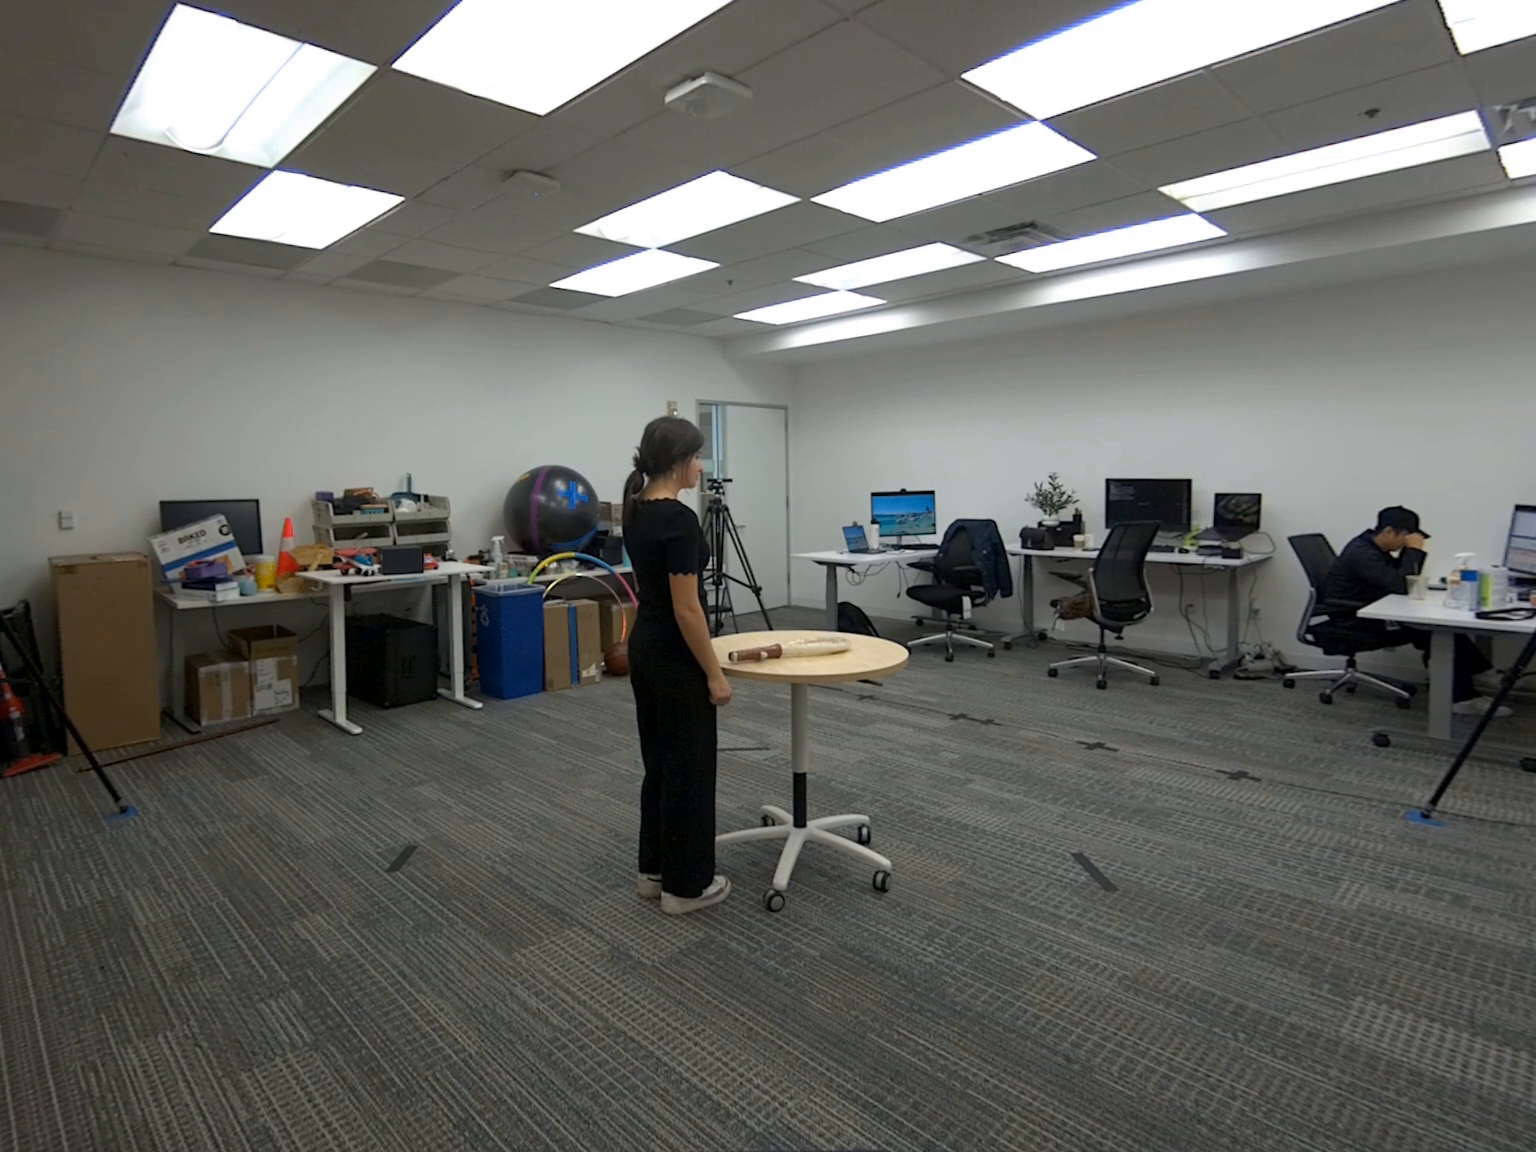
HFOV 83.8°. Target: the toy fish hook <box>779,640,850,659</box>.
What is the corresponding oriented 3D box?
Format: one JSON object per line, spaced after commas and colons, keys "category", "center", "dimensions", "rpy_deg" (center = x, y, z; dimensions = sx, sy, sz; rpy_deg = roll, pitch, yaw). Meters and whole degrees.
{"category": "toy fish hook", "center": [0.064, 0.259, 2.991], "dimensions": [0.494, 0.048, 0.230], "rpy_deg": [-4, 0, -31]}
